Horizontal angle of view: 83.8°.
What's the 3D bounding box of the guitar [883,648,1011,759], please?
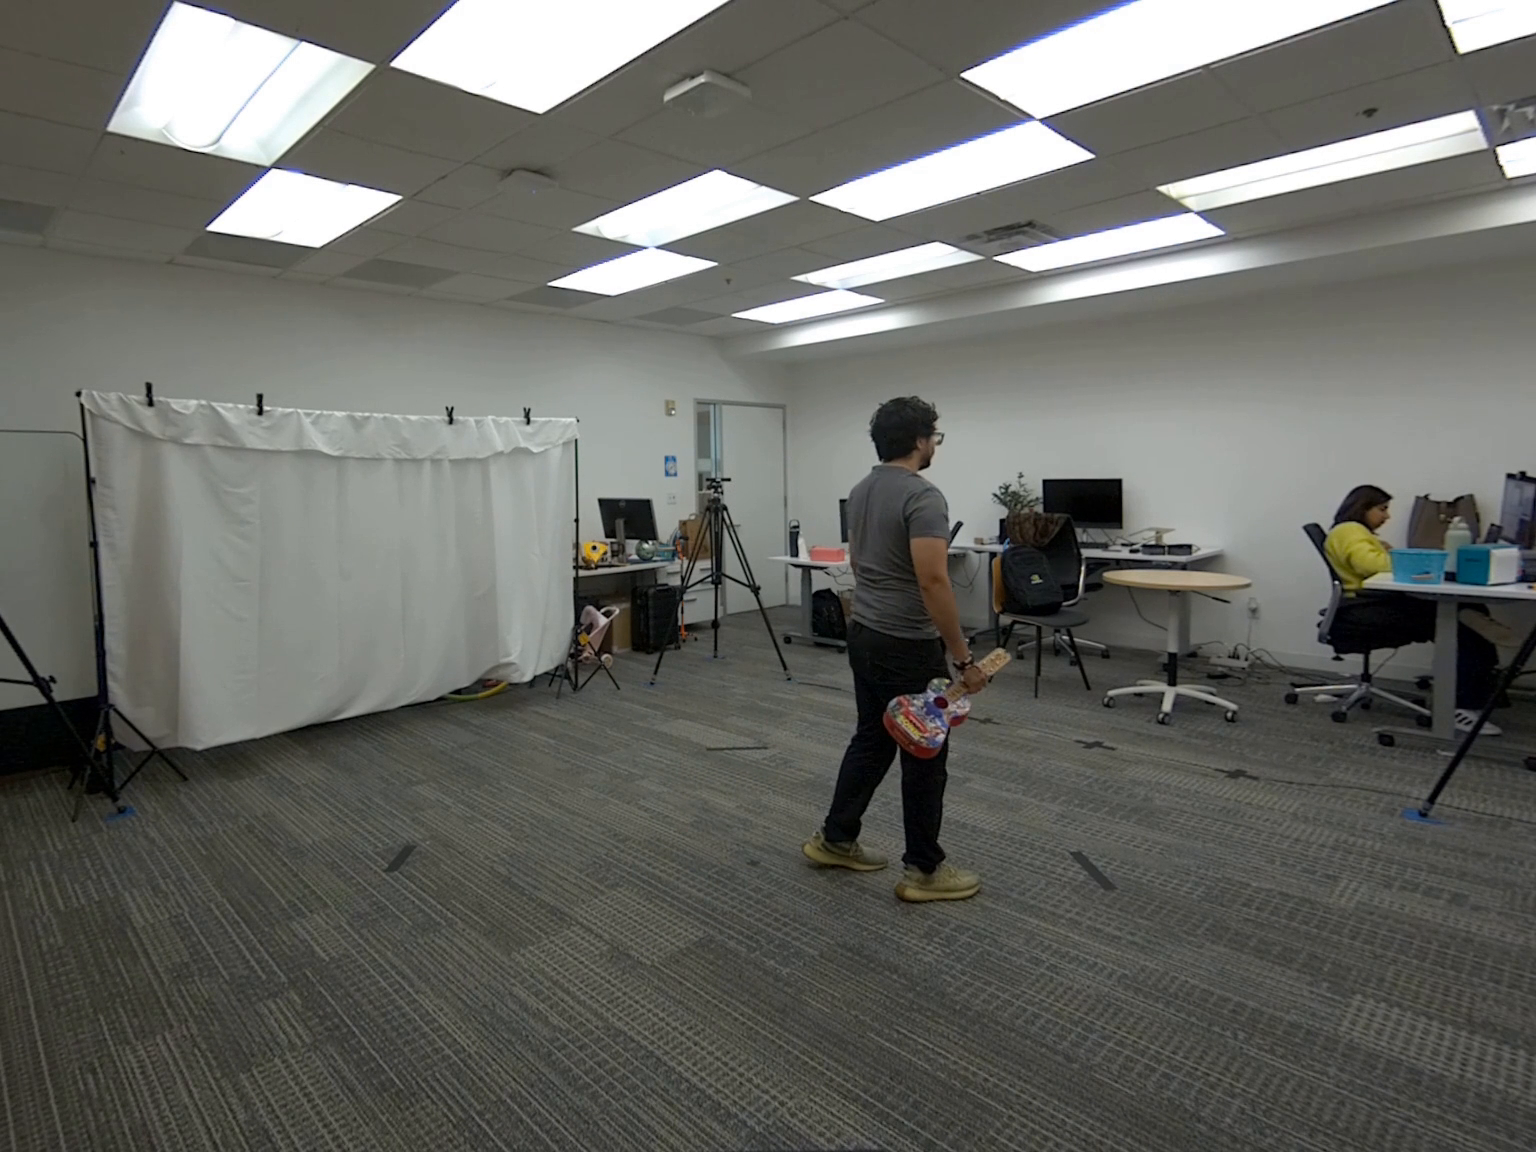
[{"bbox_3d":[0.601,0.391,2.650,0.491,0.069,0.200,-22,53,-24],"label":"guitar"}]
